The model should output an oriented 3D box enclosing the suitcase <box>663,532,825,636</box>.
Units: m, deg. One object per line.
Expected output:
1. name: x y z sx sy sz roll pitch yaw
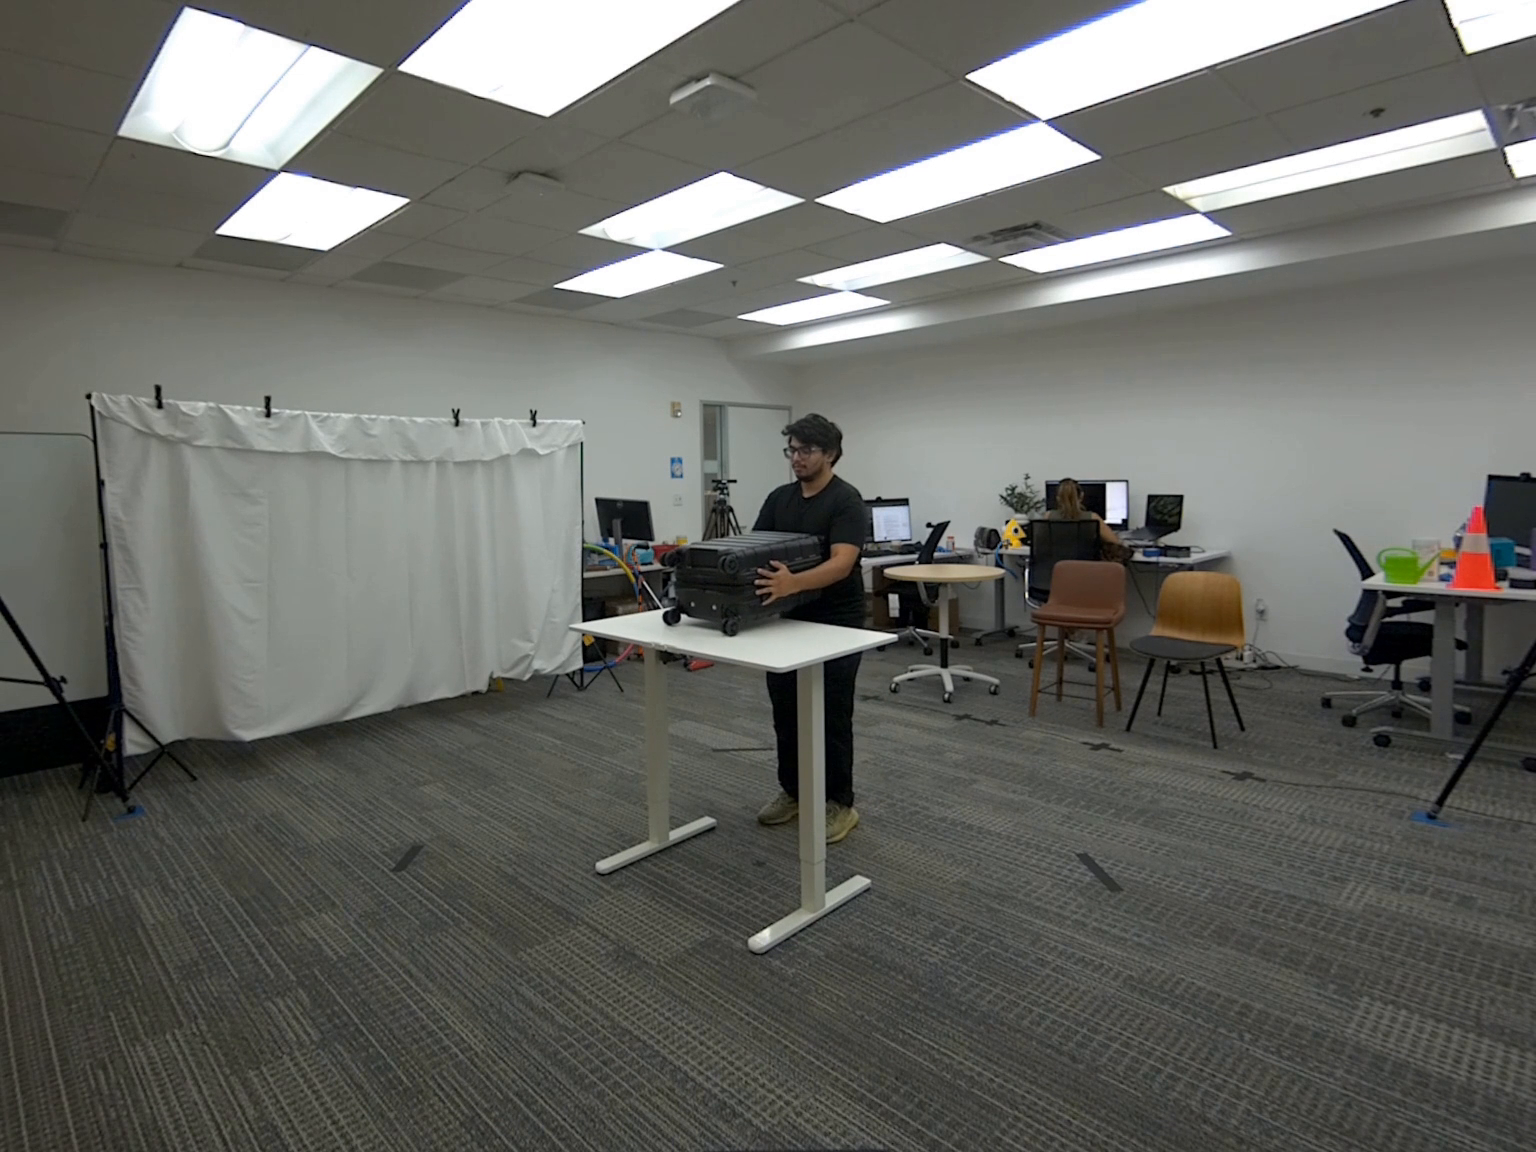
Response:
1. suitcase: -0.081 0.007 3.094 0.387 0.246 0.537 3 12 44
